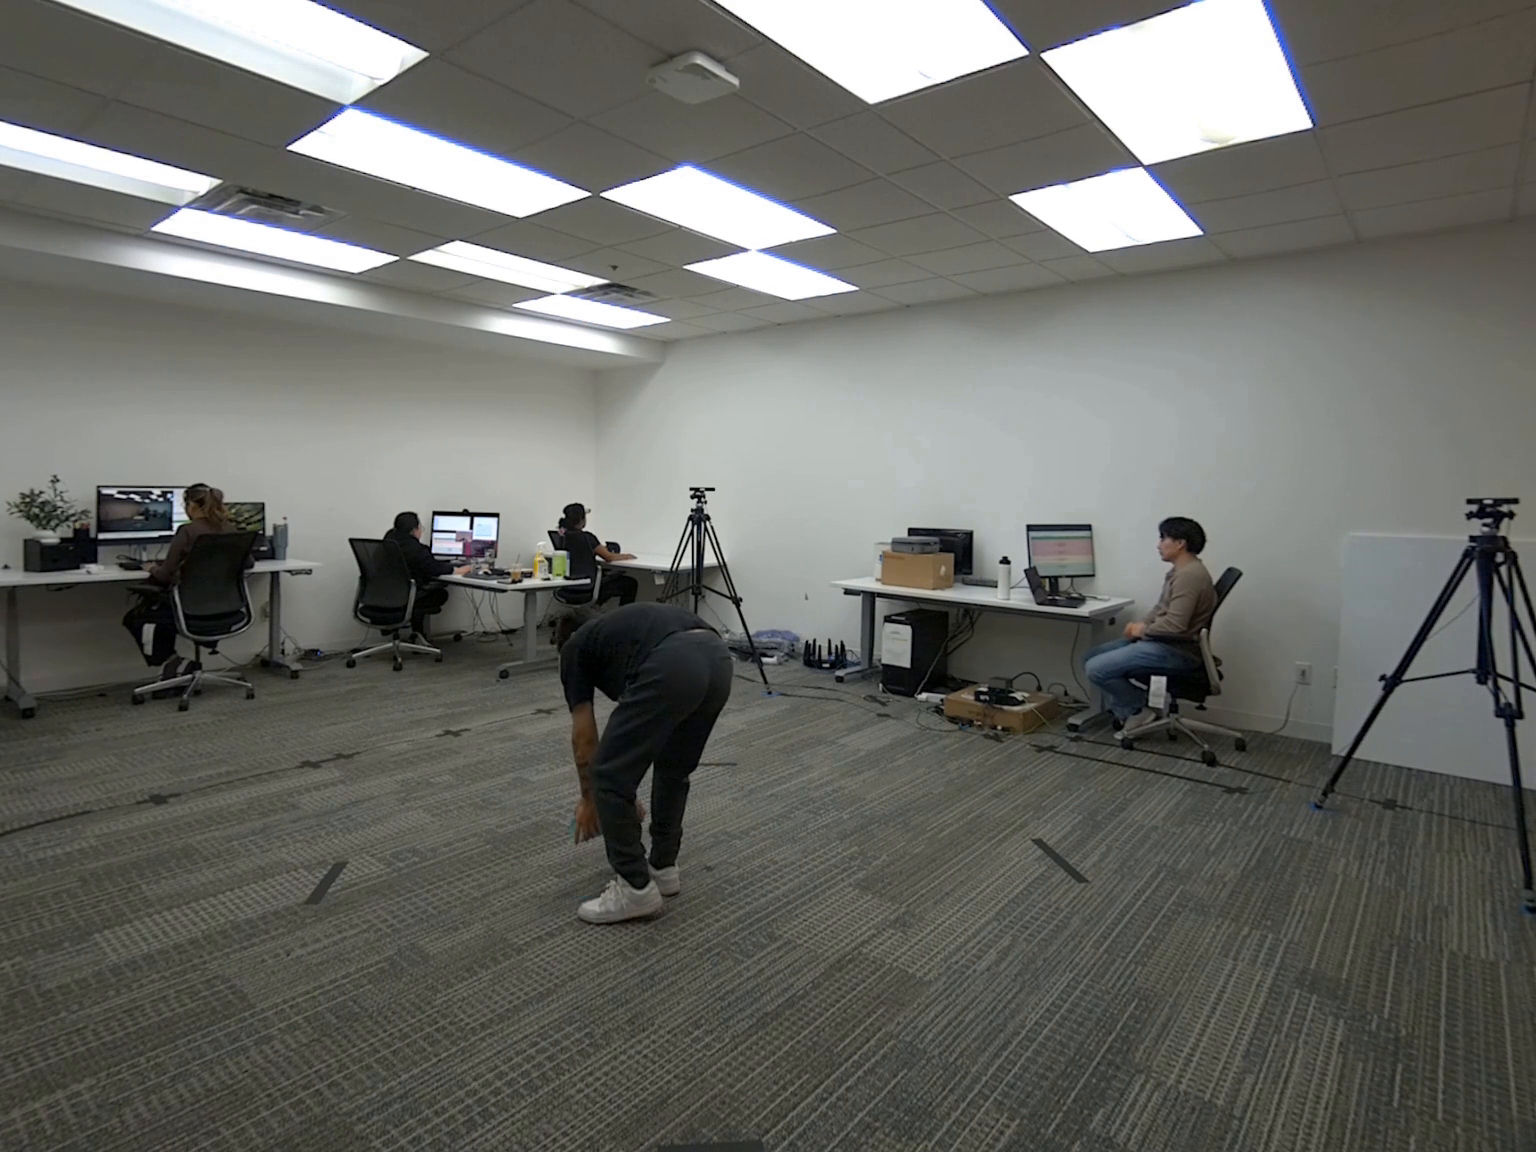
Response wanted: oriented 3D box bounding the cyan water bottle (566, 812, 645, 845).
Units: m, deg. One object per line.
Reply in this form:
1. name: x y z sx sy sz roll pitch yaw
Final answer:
1. cyan water bottle: -0.589 0.887 3.098 0.095 0.092 0.274 5 3 43
